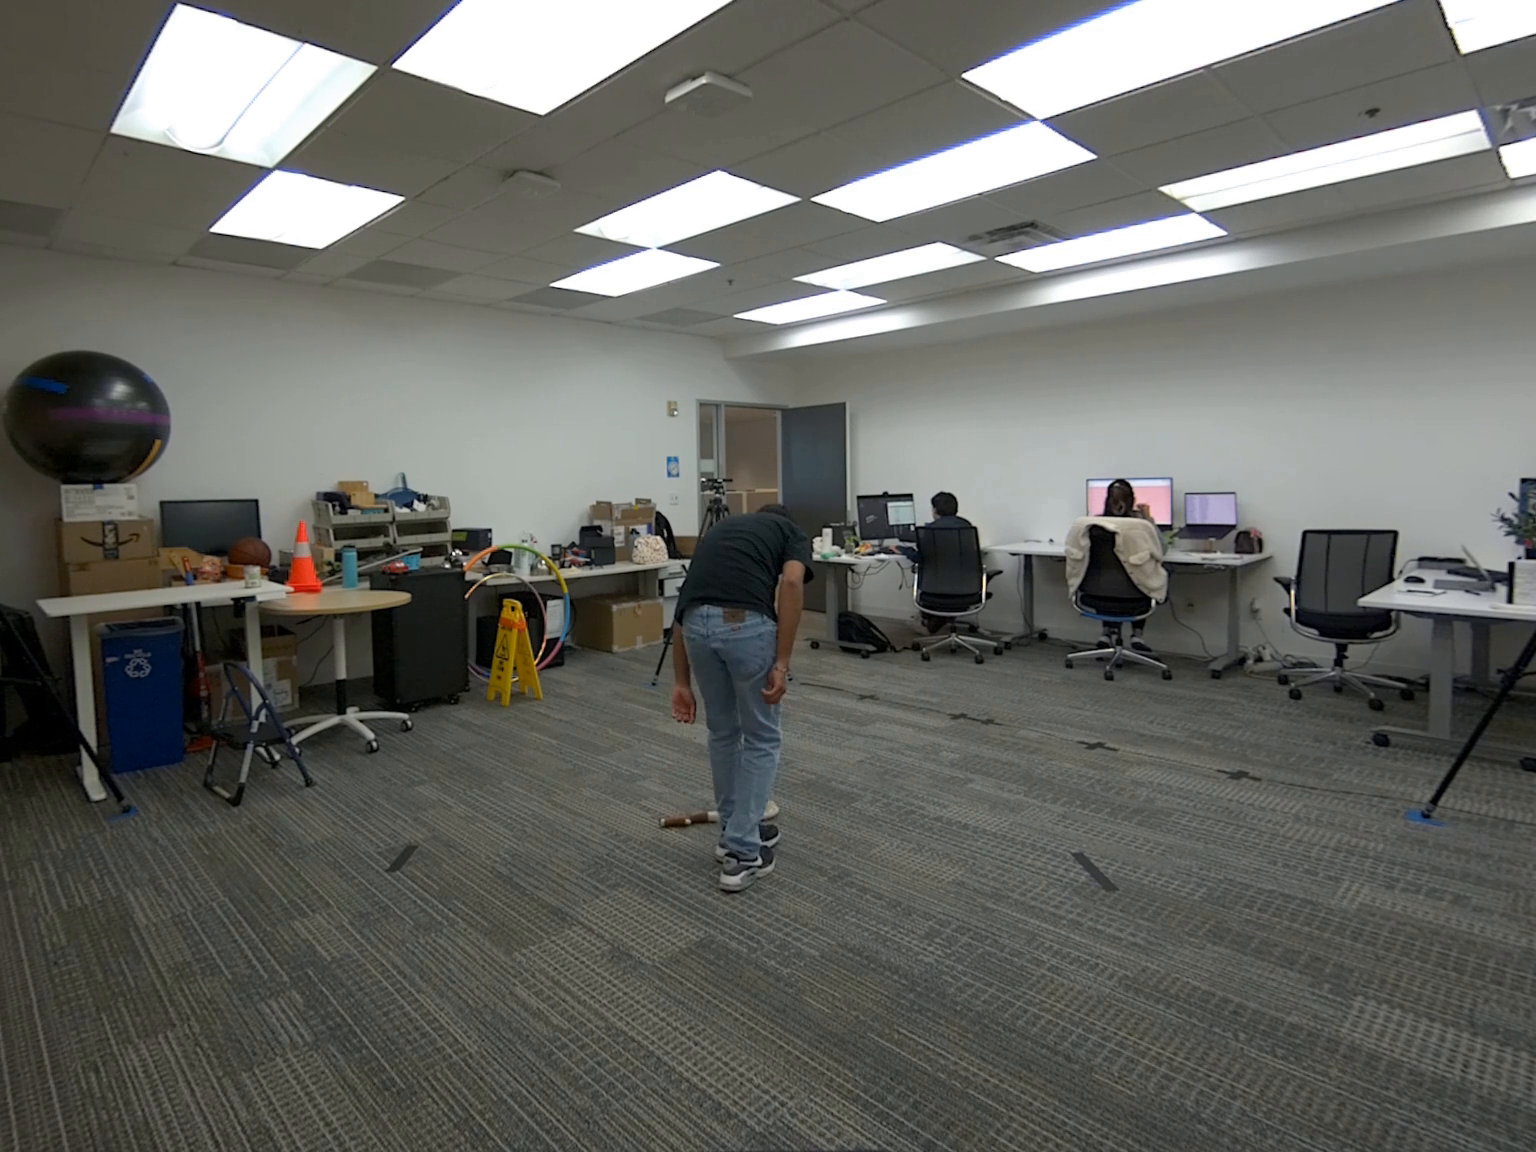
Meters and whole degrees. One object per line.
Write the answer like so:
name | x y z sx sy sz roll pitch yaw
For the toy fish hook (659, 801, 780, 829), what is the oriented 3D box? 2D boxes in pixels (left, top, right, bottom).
toy fish hook | -0.211 0.981 3.547 0.501 0.048 0.227 -2 -1 -13
